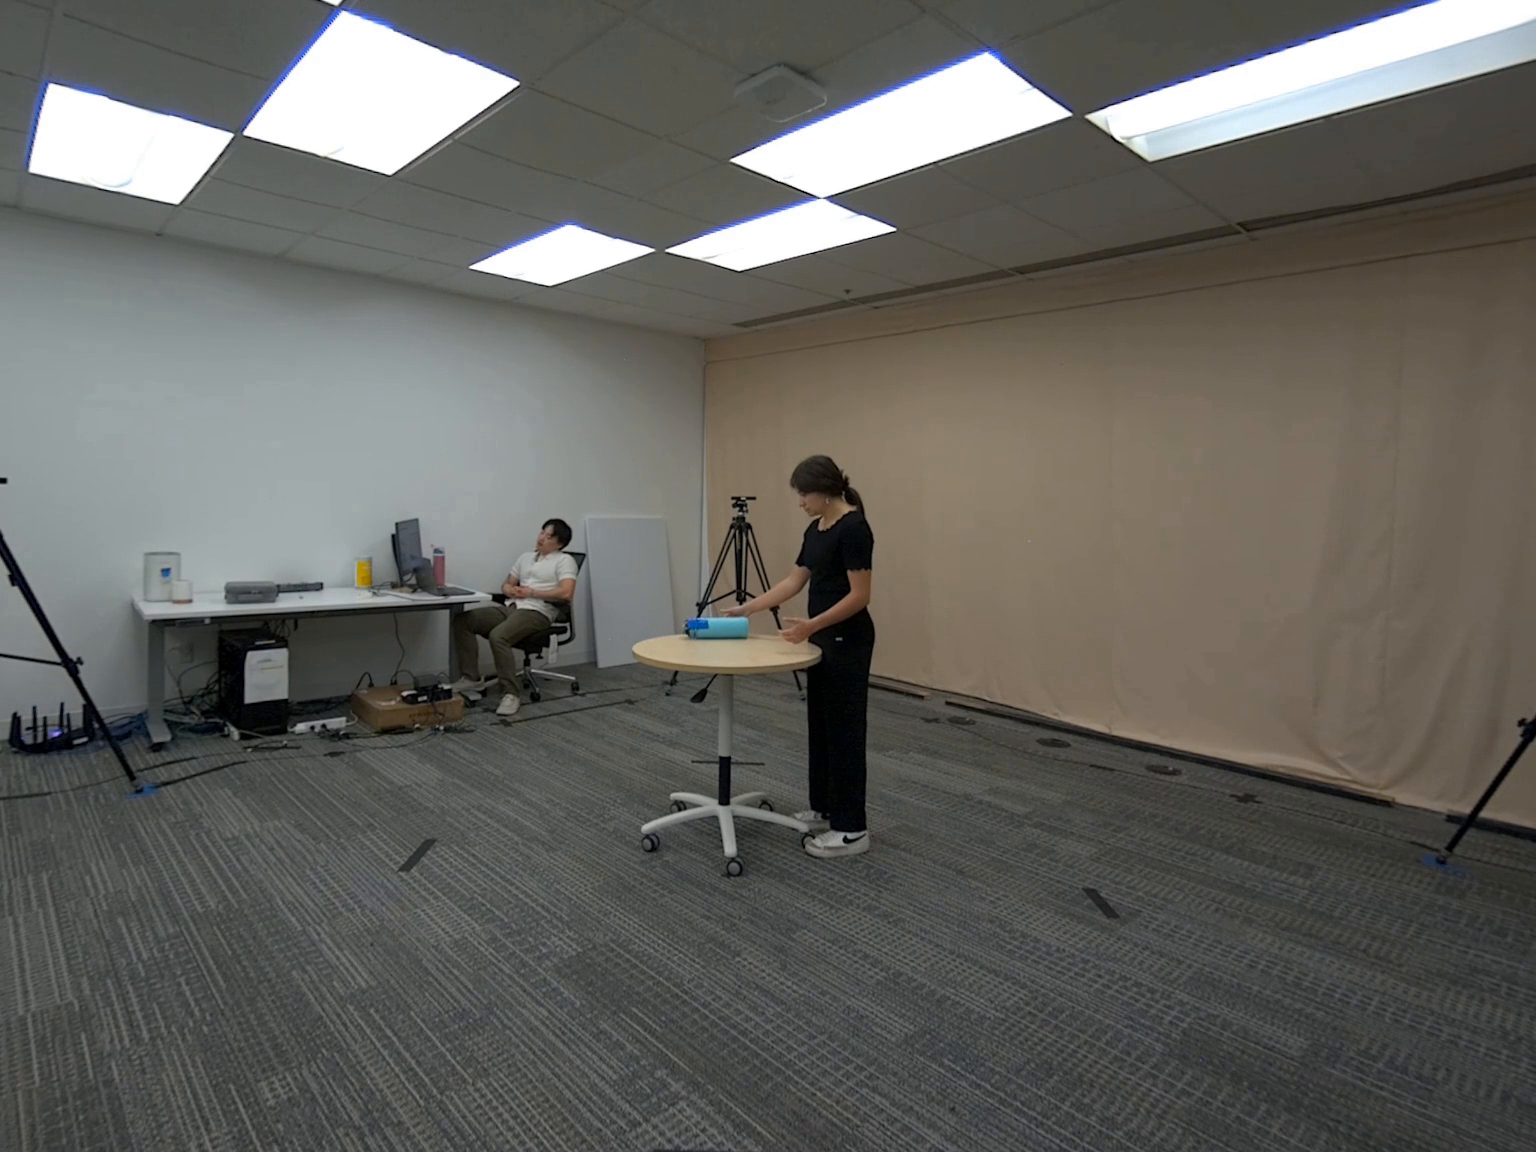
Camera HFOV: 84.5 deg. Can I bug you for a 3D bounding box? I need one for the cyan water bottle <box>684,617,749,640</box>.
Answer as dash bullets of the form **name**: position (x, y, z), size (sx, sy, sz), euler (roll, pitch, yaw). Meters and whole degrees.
- **cyan water bottle**: position (-0.237, 0.224, 3.641), size (0.281, 0.092, 0.093), euler (2, 4, -8)
